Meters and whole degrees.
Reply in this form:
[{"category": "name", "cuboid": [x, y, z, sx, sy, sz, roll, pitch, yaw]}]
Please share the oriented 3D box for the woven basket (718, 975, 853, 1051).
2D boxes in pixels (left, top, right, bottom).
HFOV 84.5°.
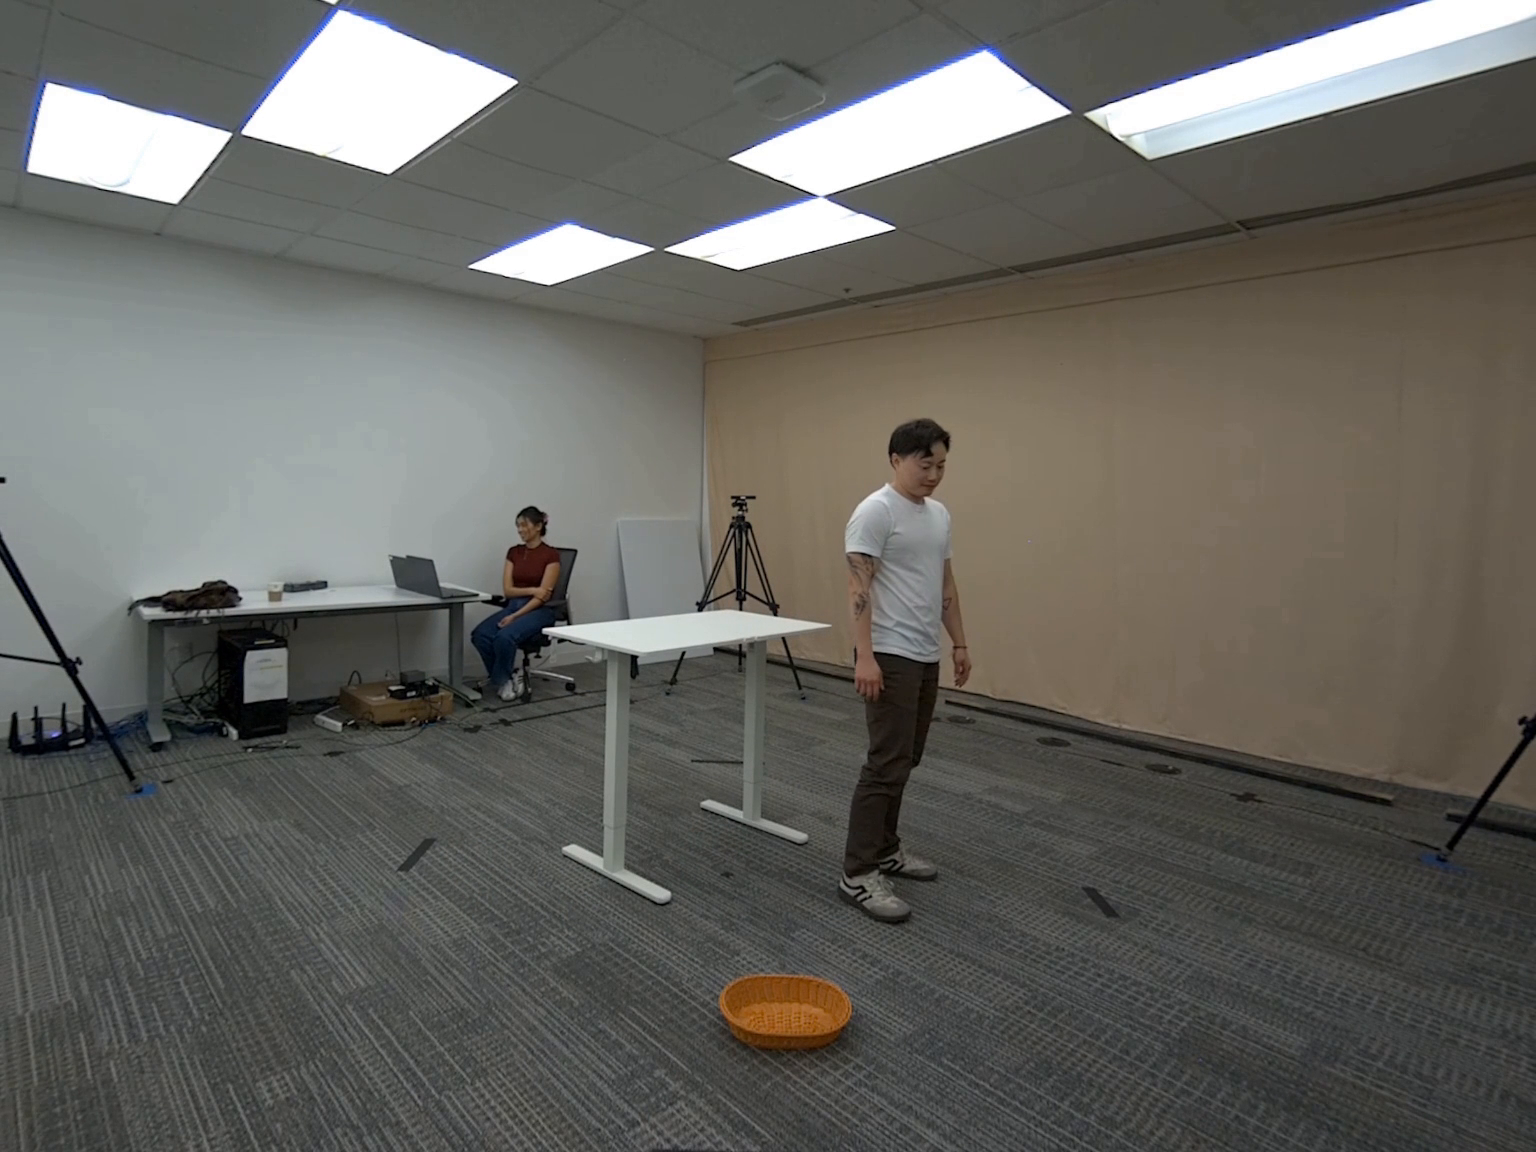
[{"category": "woven basket", "cuboid": [0.039, 1.153, 2.209, 0.352, 0.073, 0.252, 2, 6, 4]}]
